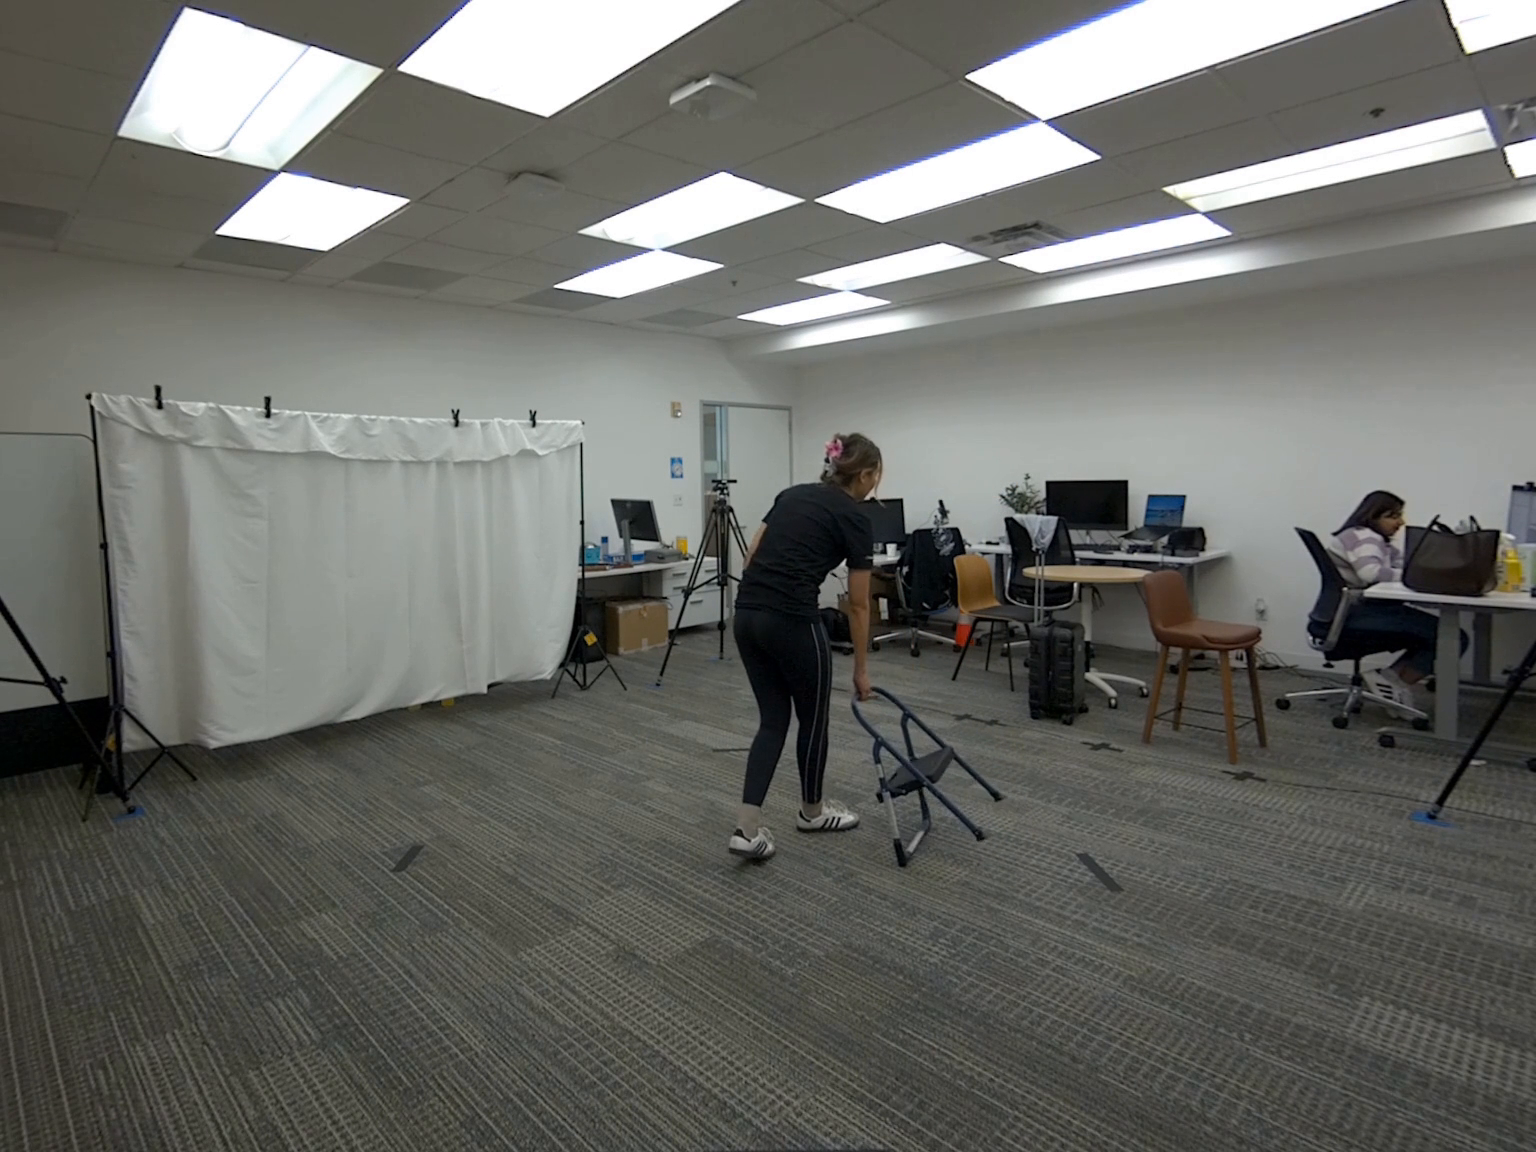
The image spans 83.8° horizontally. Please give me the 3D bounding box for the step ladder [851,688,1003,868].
[{"bbox_3d":[0.555,0.685,3.226,0.352,0.613,0.422,-31,-9,24],"label":"step ladder"}]
